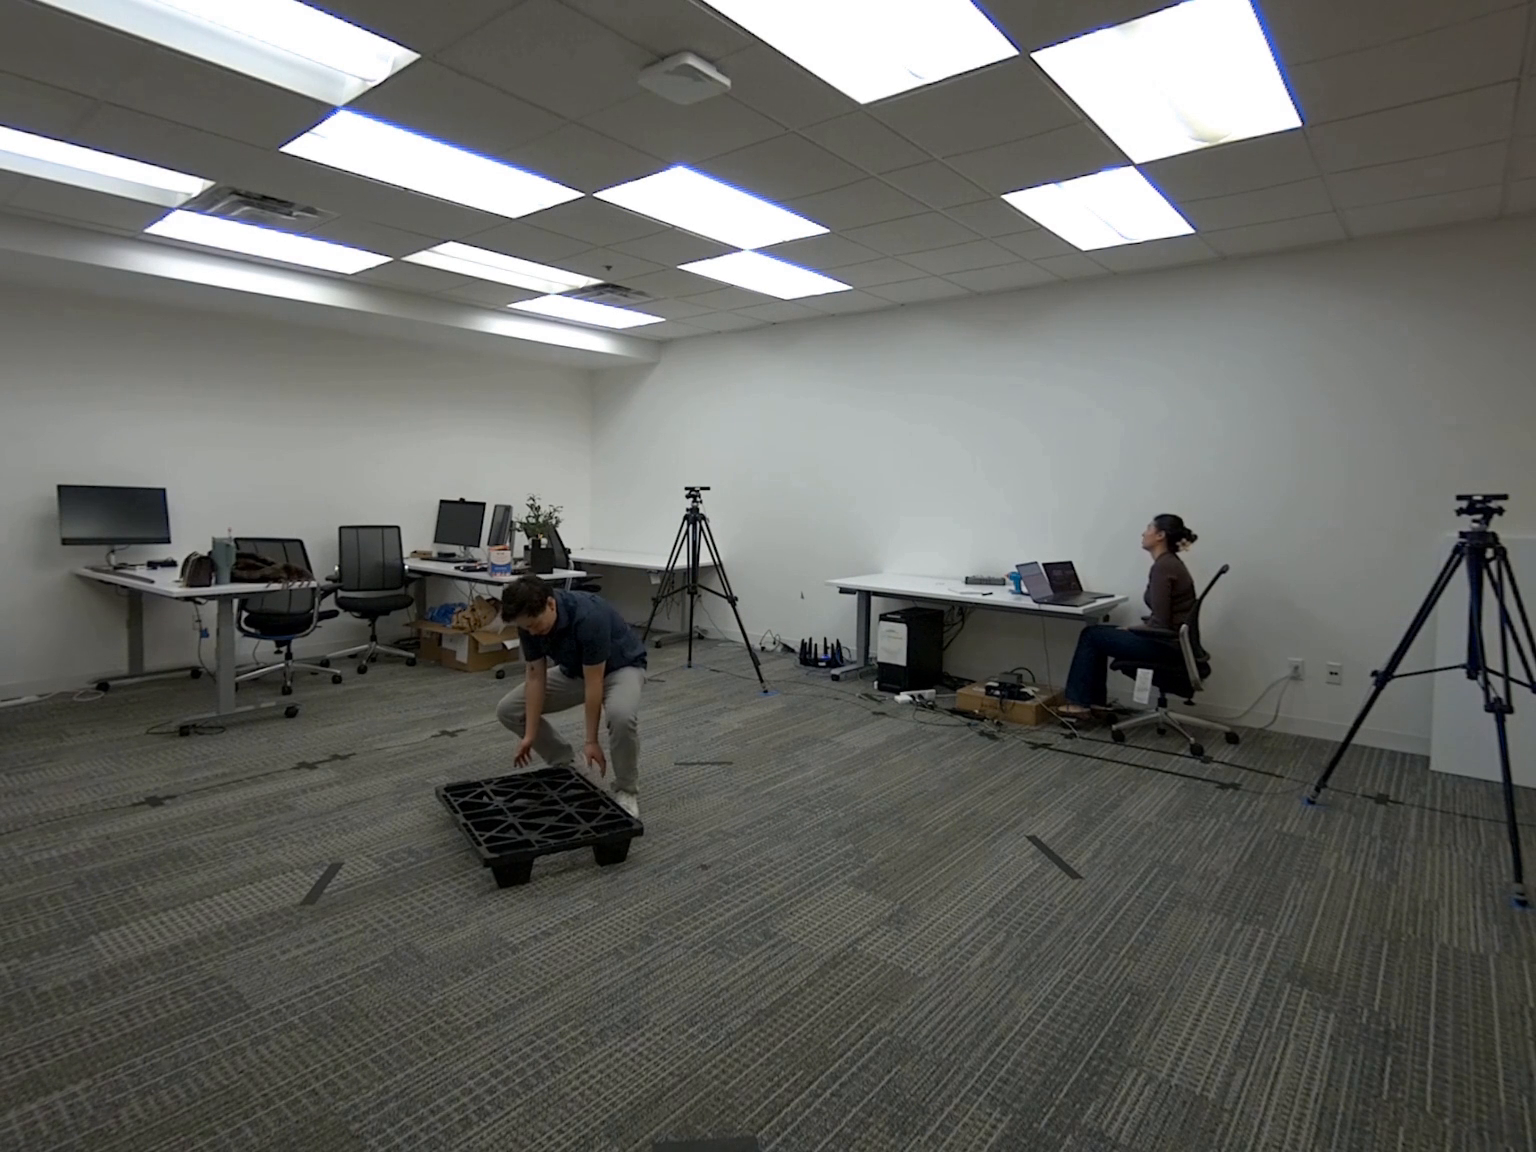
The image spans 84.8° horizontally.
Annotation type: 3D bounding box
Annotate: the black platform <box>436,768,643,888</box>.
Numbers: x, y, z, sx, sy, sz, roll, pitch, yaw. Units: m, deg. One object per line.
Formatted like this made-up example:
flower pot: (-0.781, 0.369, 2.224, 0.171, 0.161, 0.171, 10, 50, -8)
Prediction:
black platform: (-0.938, 0.964, 3.347, 0.589, 0.143, 0.831, -3, 7, -32)
